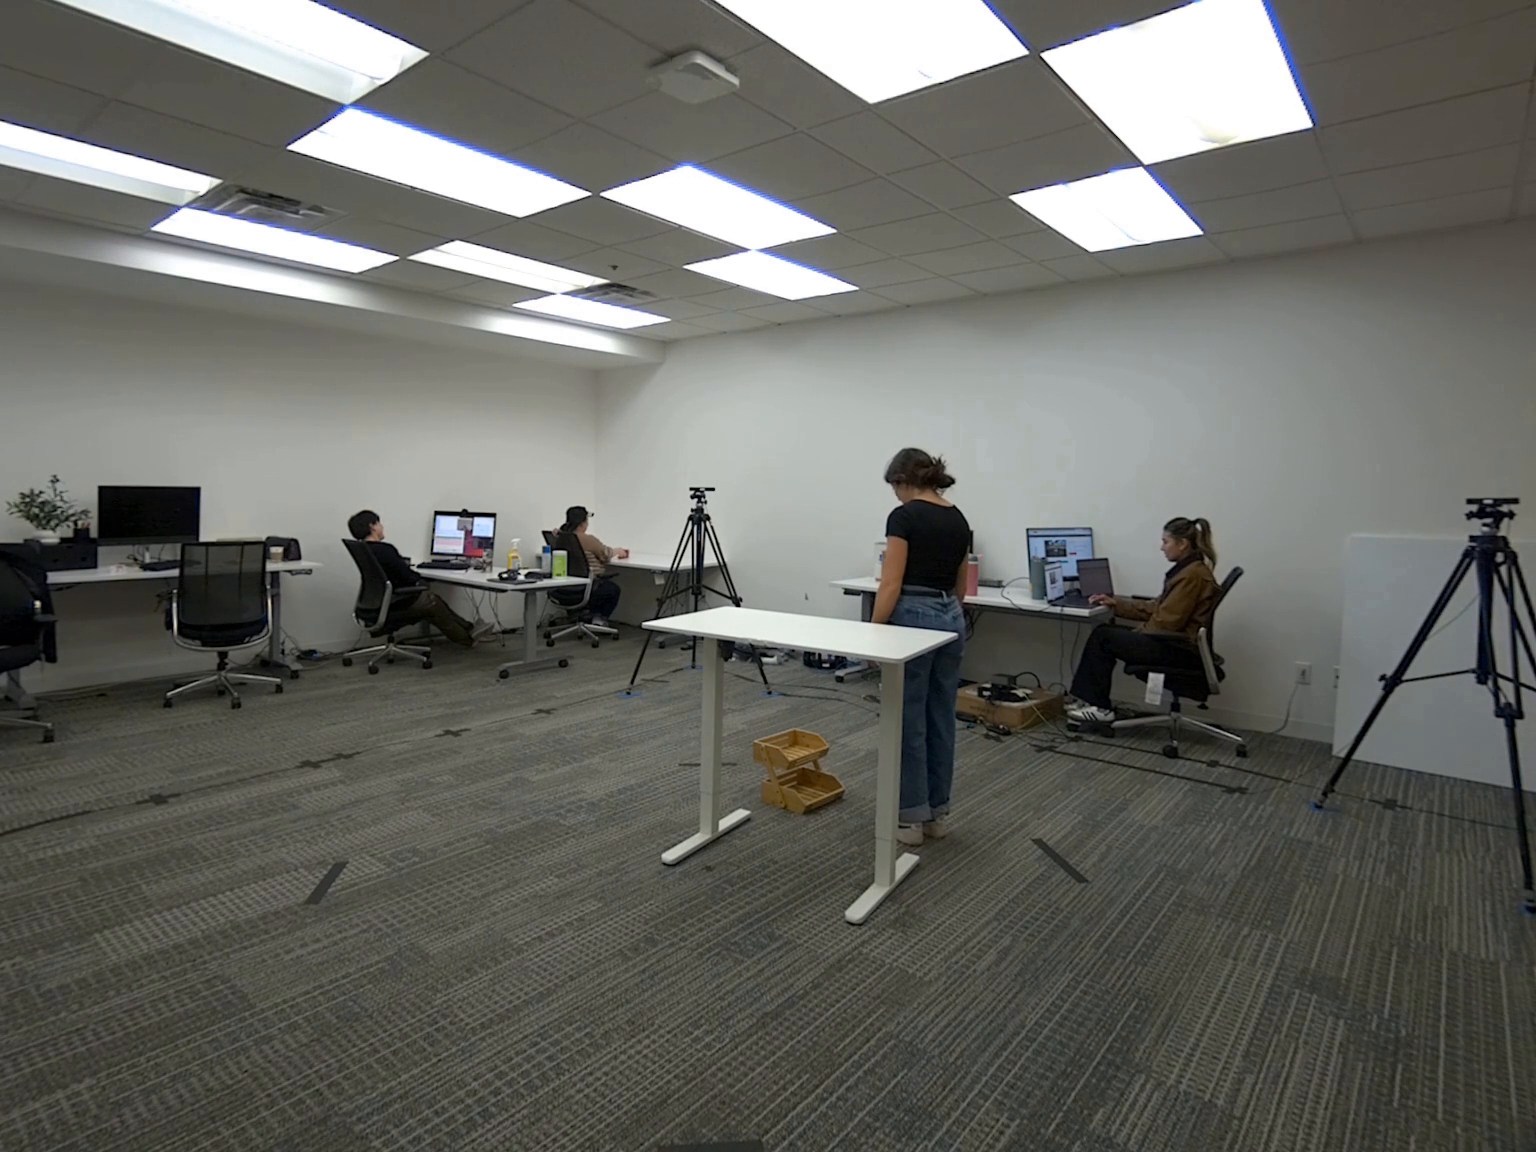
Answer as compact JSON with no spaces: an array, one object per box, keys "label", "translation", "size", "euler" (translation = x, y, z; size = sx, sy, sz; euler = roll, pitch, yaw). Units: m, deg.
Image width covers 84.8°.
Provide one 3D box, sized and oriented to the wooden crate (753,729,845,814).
[{"label":"wooden crate","translation":[0.136,0.868,3.843],"size":[0.312,0.272,0.315],"euler":[4,6,41]}]
